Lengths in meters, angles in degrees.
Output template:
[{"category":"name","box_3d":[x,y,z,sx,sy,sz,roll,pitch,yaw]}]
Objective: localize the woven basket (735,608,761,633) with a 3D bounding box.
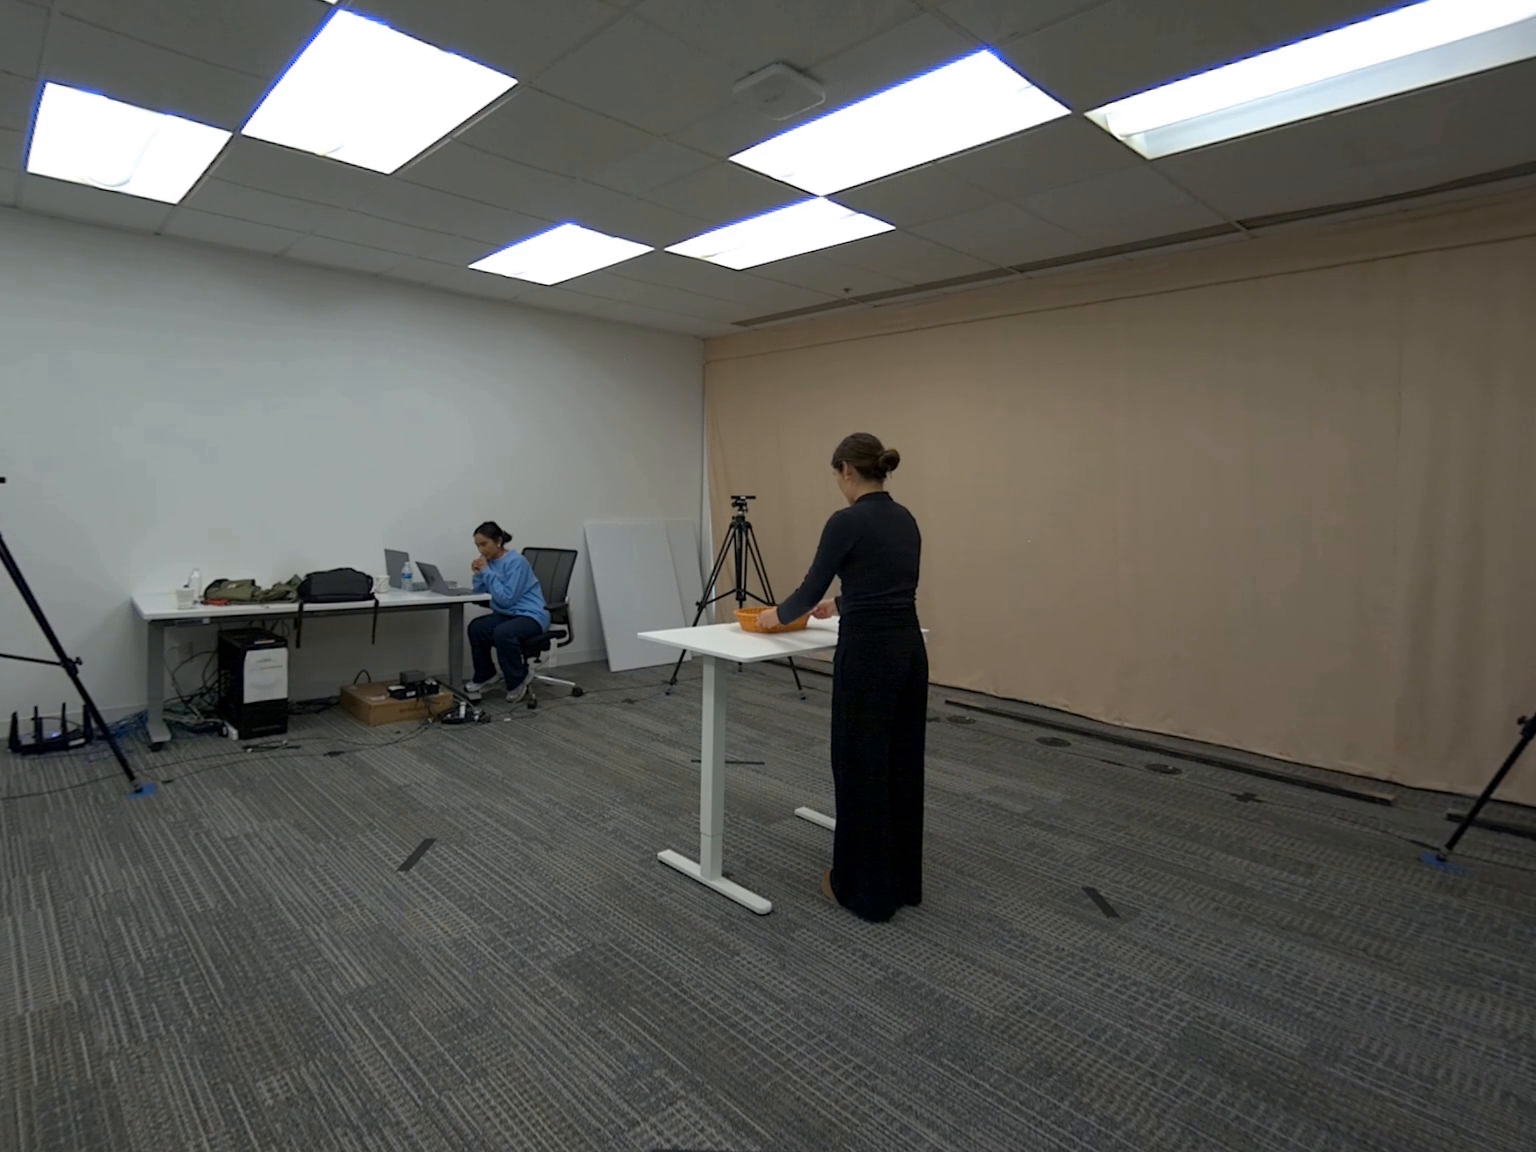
[{"category":"woven basket","box_3d":[0.034,0.178,3.294,0.342,0.073,0.259,-4,6,-43]}]
